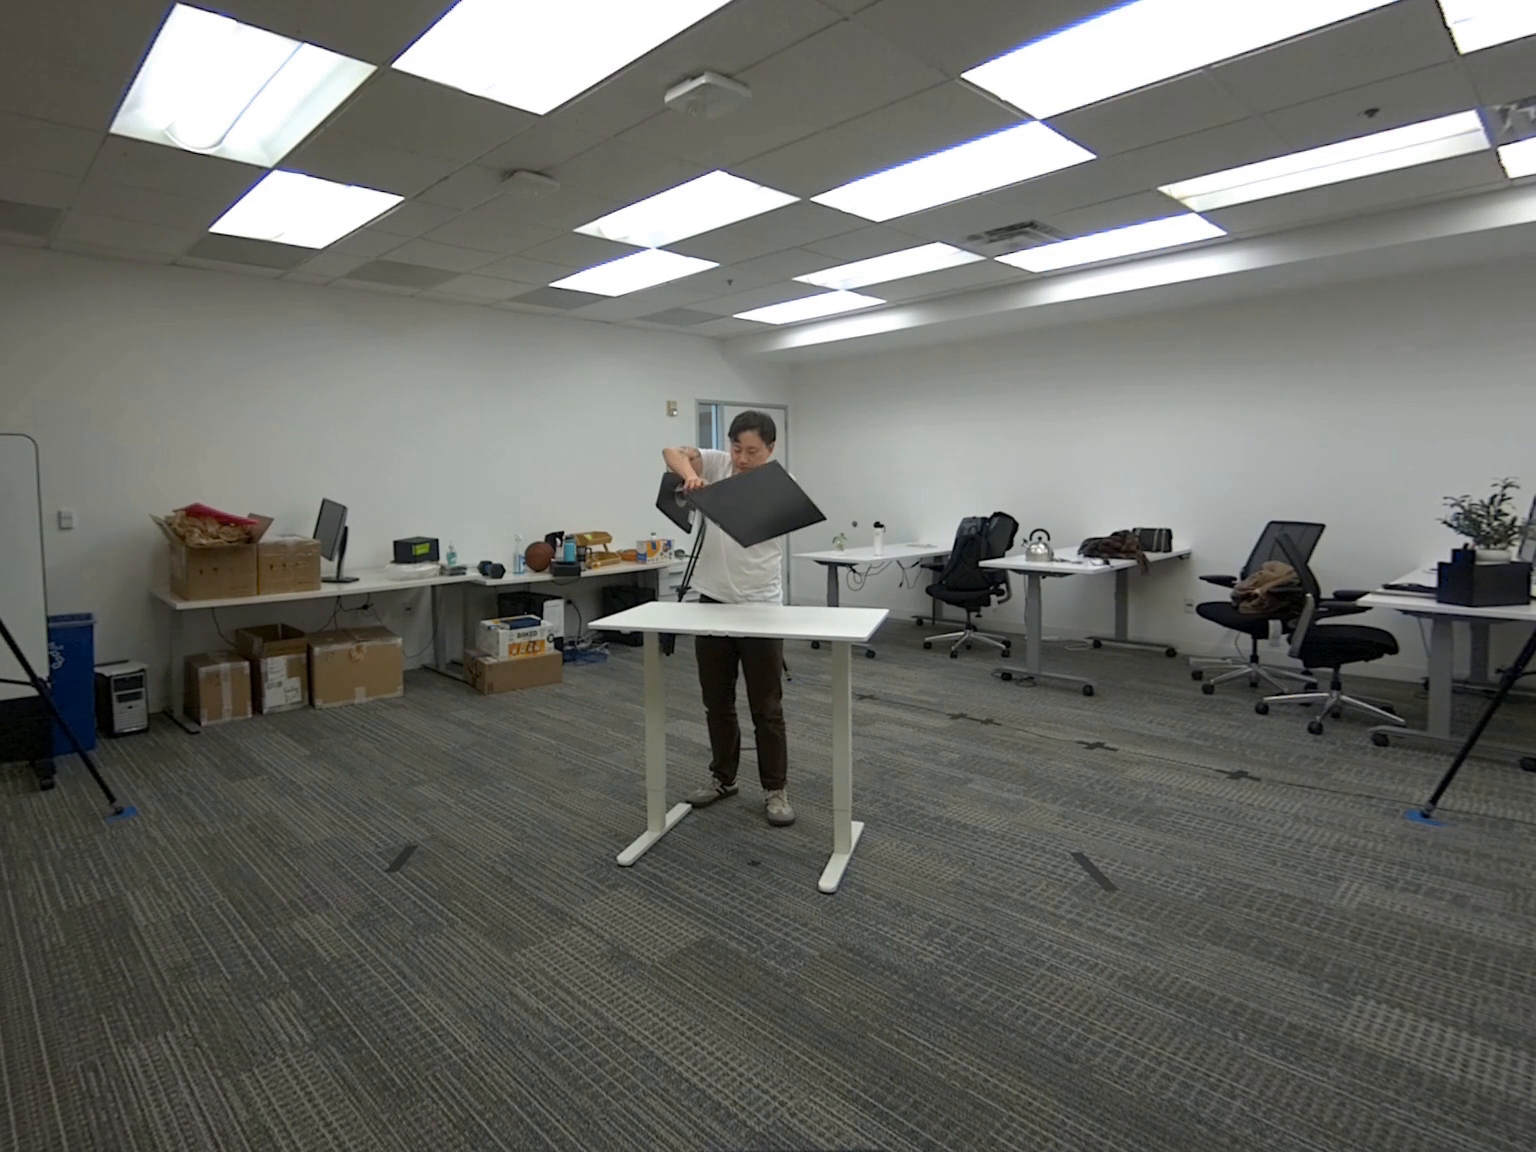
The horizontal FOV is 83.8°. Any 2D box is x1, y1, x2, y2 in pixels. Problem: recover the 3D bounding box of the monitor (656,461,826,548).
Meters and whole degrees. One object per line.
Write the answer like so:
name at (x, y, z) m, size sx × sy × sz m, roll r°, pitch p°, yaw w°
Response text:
monitor at (-0.117, -0.279, 3.163) m, size 0.534 × 0.189 × 0.520 m, roll 1°, pitch -18°, yaw 25°
